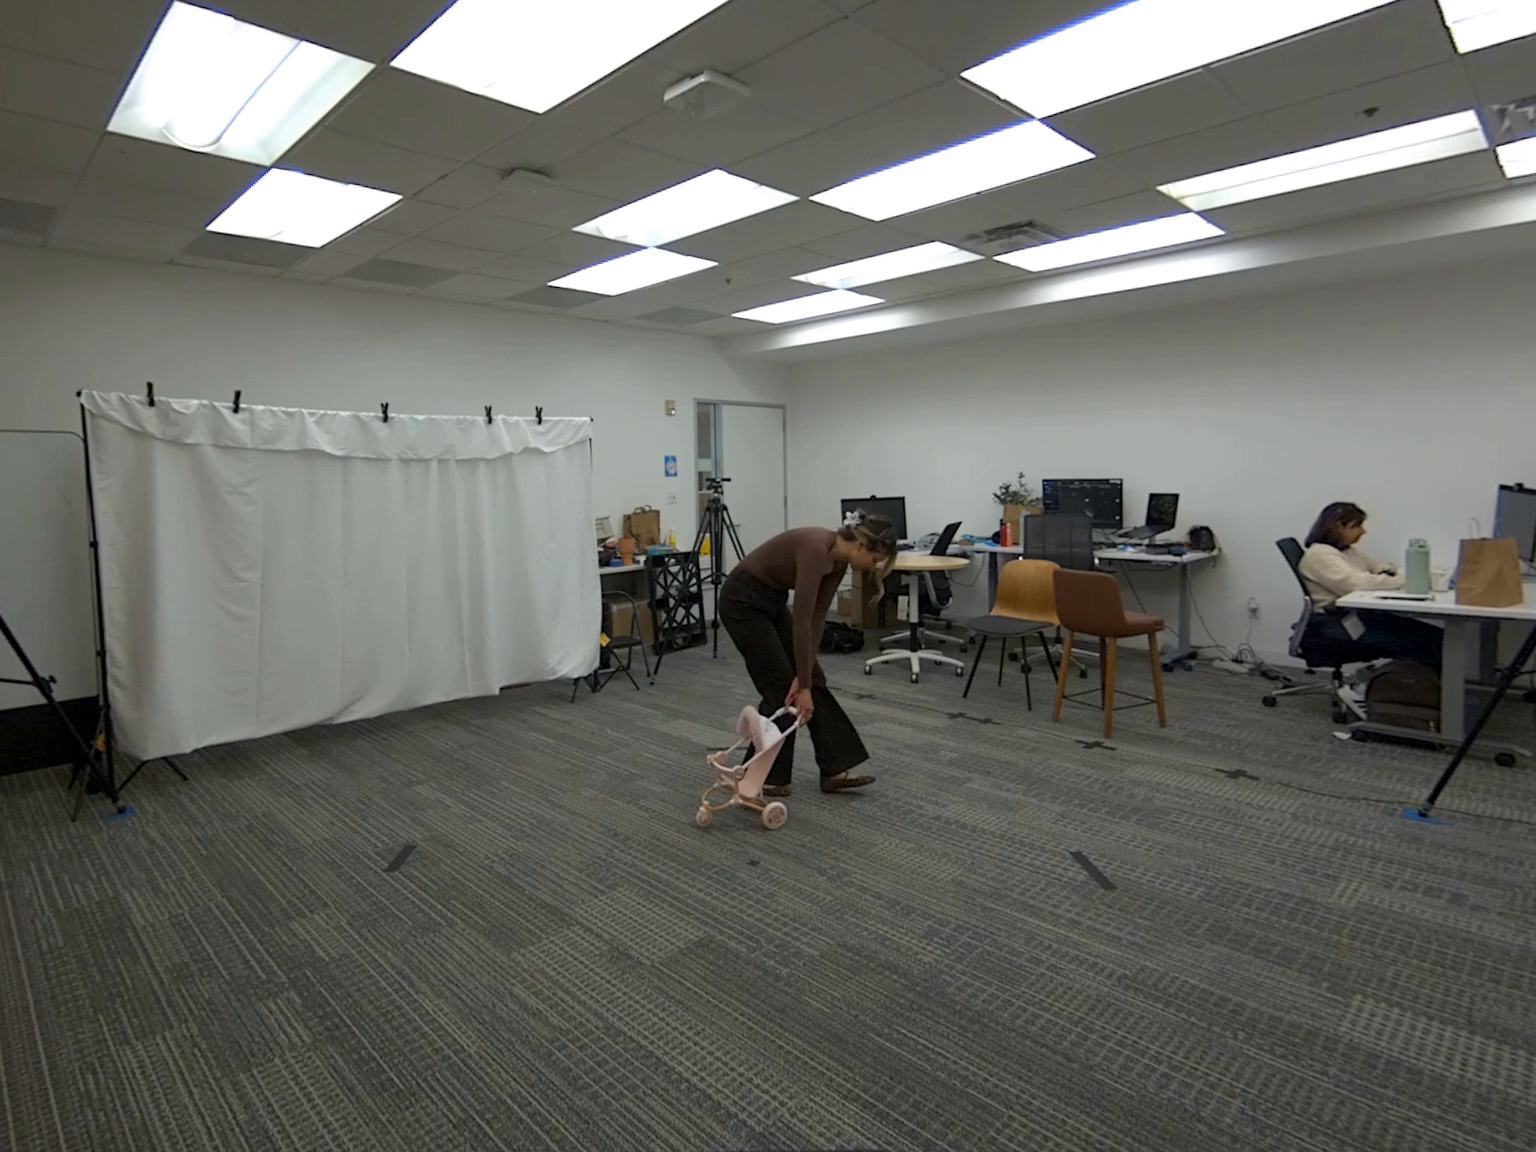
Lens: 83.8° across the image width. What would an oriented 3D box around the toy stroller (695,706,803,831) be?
[{"bbox_3d":[-0.083,0.772,3.483,0.335,0.535,0.287,14,0,-17],"label":"toy stroller"}]
